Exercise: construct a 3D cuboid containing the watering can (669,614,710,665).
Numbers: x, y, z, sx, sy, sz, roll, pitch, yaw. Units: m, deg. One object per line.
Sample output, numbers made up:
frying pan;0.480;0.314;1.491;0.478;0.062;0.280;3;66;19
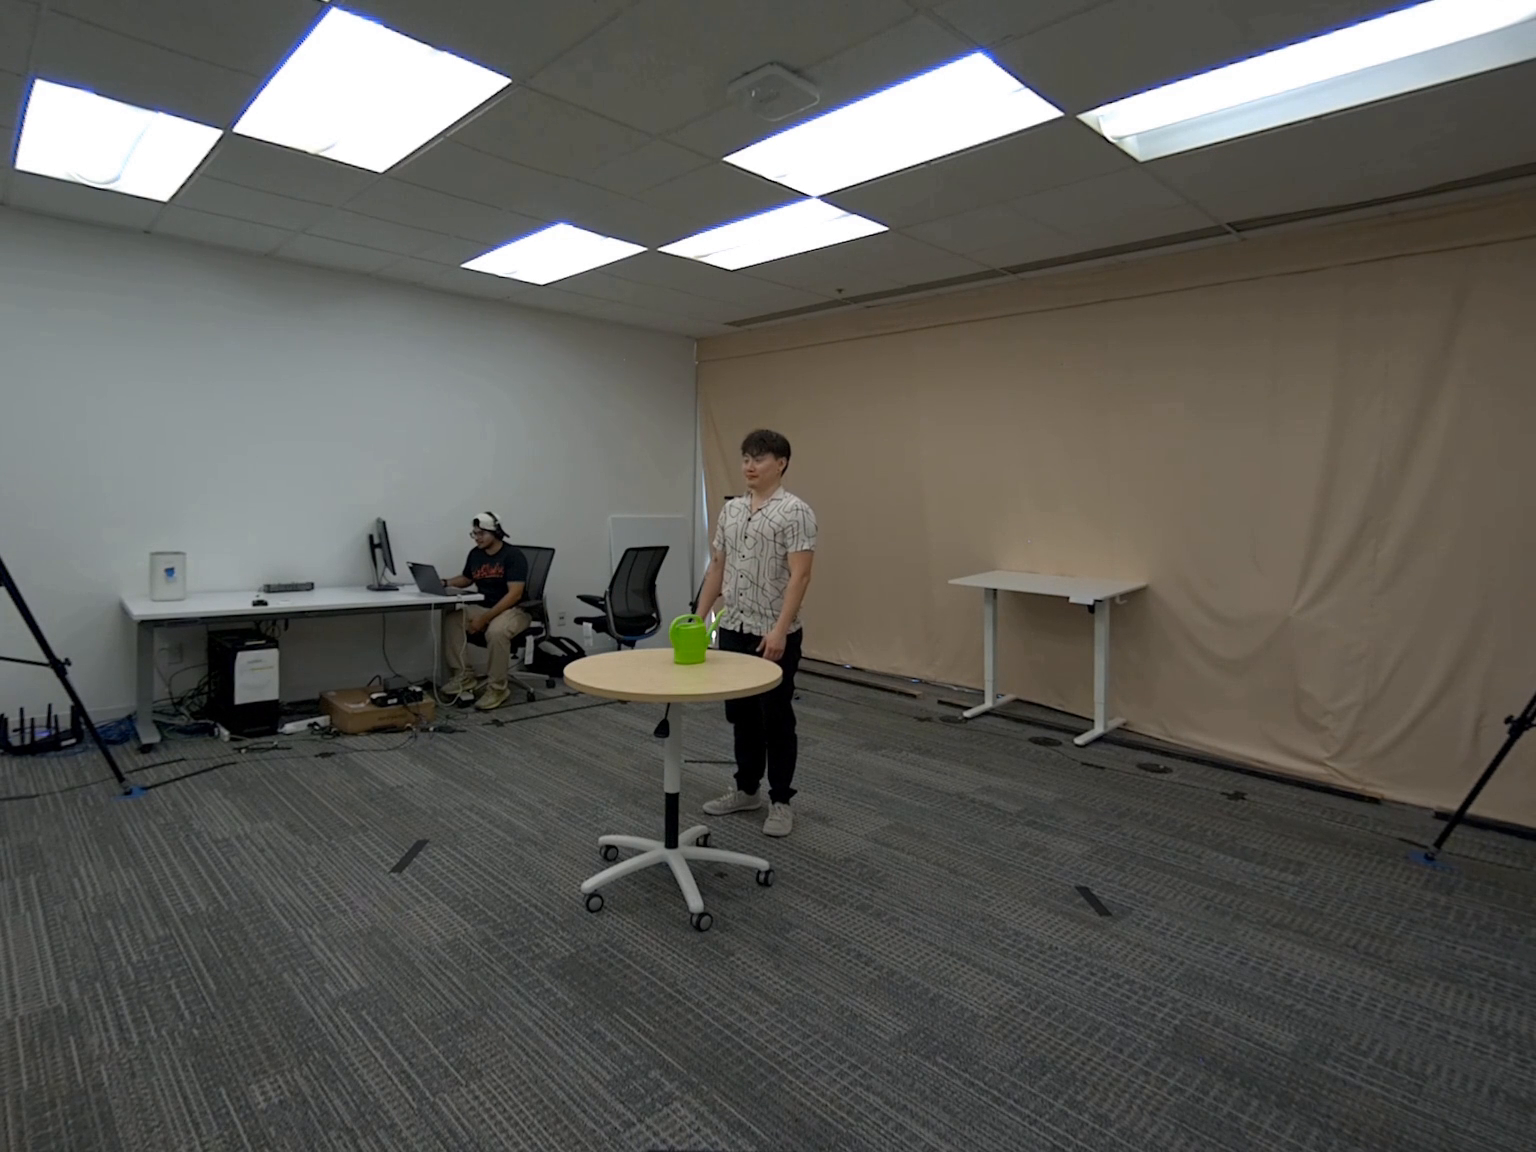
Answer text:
watering can;-0.273;0.225;3.113;0.273;0.176;0.100;-4;6;-32
